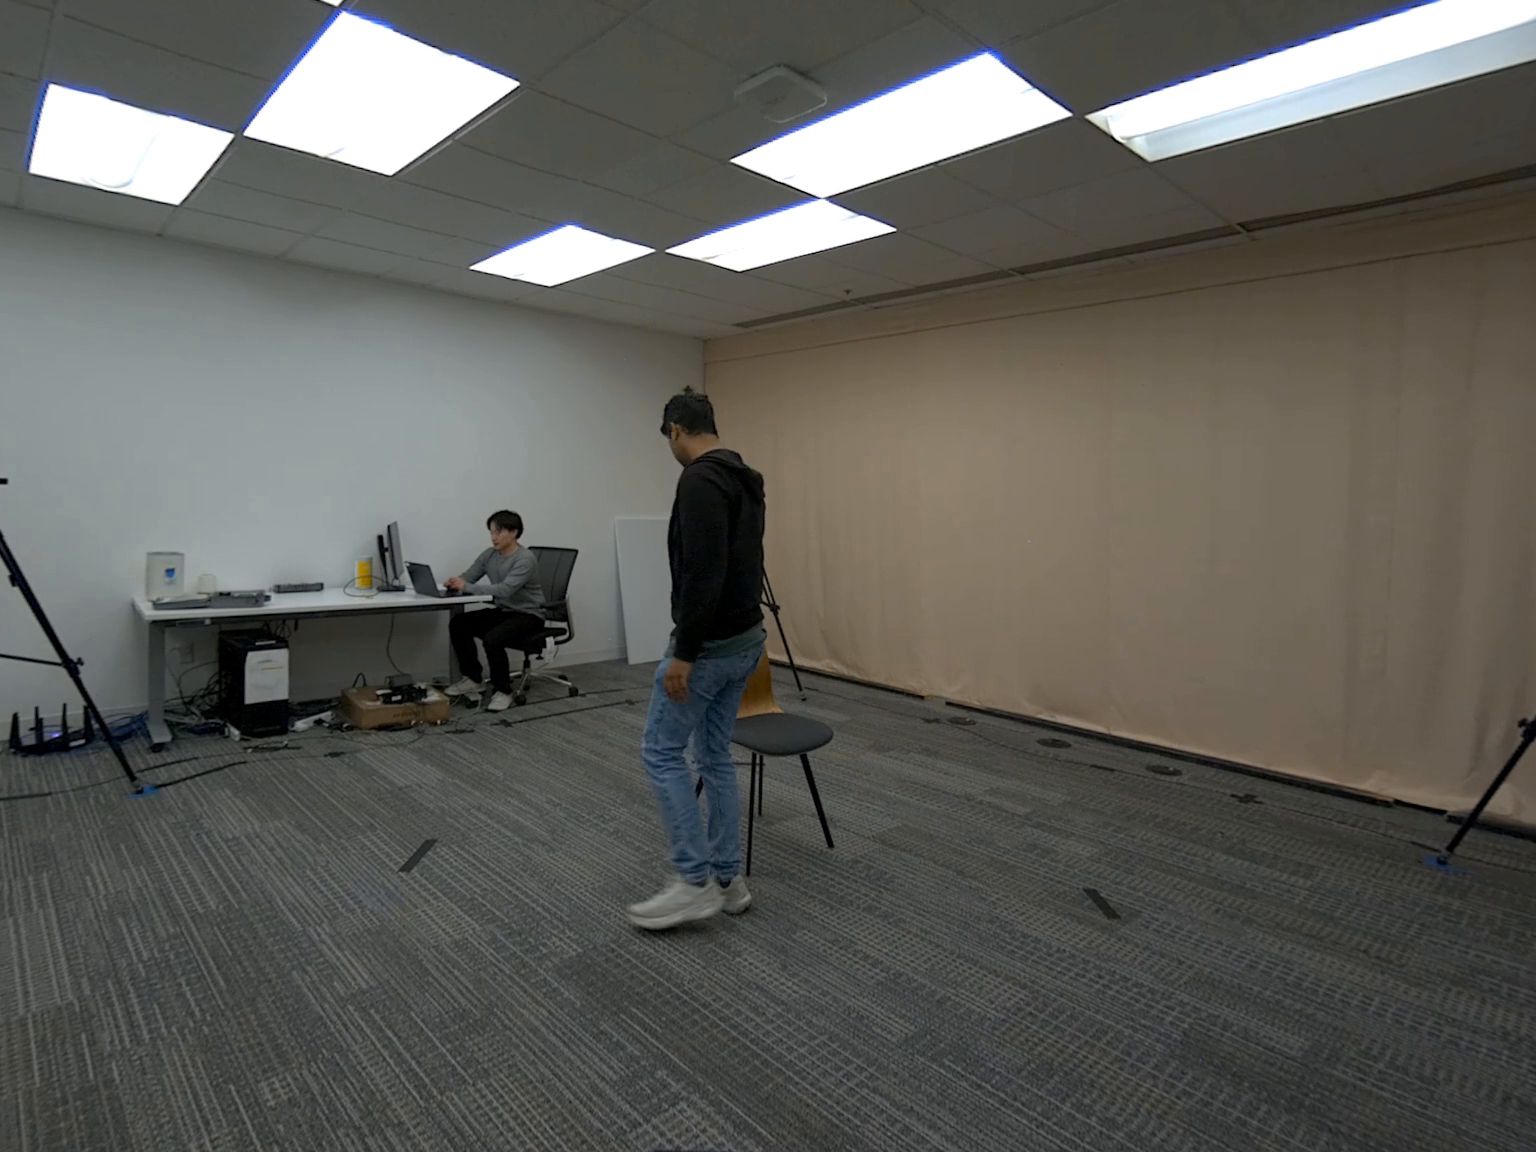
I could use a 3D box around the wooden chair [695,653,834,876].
[{"bbox_3d":[-0.045,0.659,3.381,0.467,0.878,0.535,-1,-1,-40],"label":"wooden chair"}]
